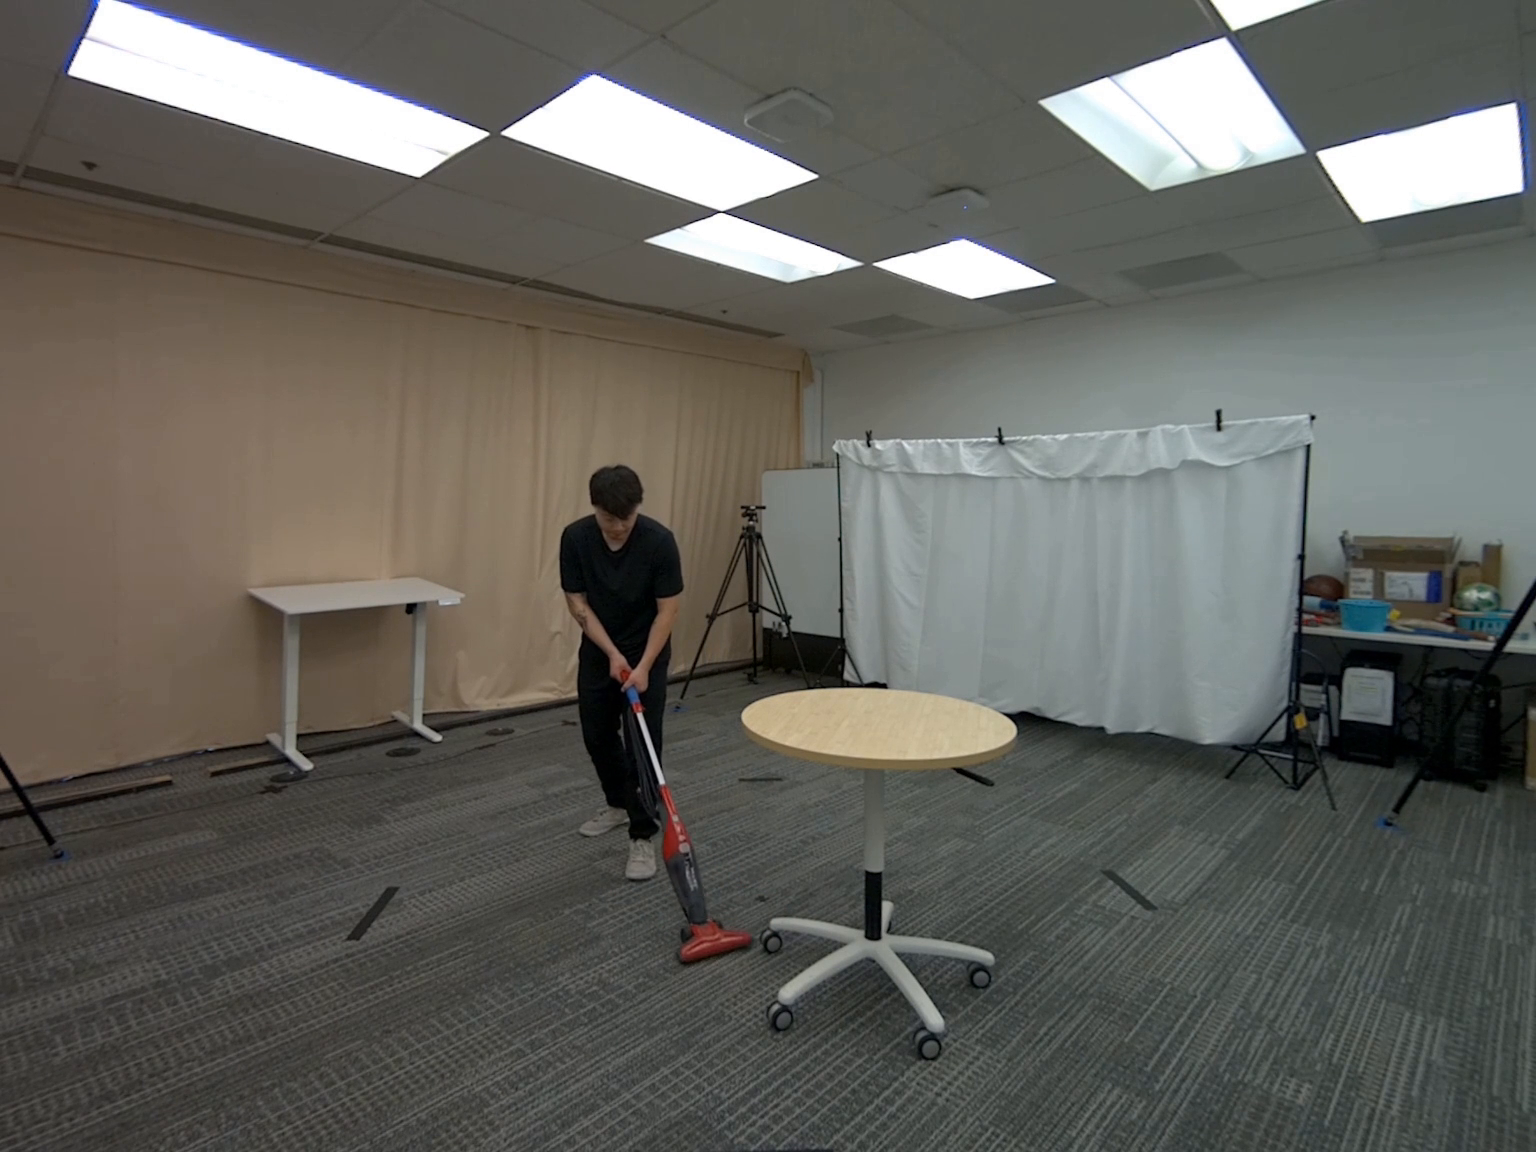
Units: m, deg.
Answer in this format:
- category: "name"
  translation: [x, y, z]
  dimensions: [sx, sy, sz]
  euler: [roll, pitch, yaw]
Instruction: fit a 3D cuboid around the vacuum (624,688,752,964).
- category: "vacuum"
  translation: [-0.374, 0.770, 2.957]
  dimensions: [0.245, 0.144, 1.081]
  euler: [-1, 47, -31]
